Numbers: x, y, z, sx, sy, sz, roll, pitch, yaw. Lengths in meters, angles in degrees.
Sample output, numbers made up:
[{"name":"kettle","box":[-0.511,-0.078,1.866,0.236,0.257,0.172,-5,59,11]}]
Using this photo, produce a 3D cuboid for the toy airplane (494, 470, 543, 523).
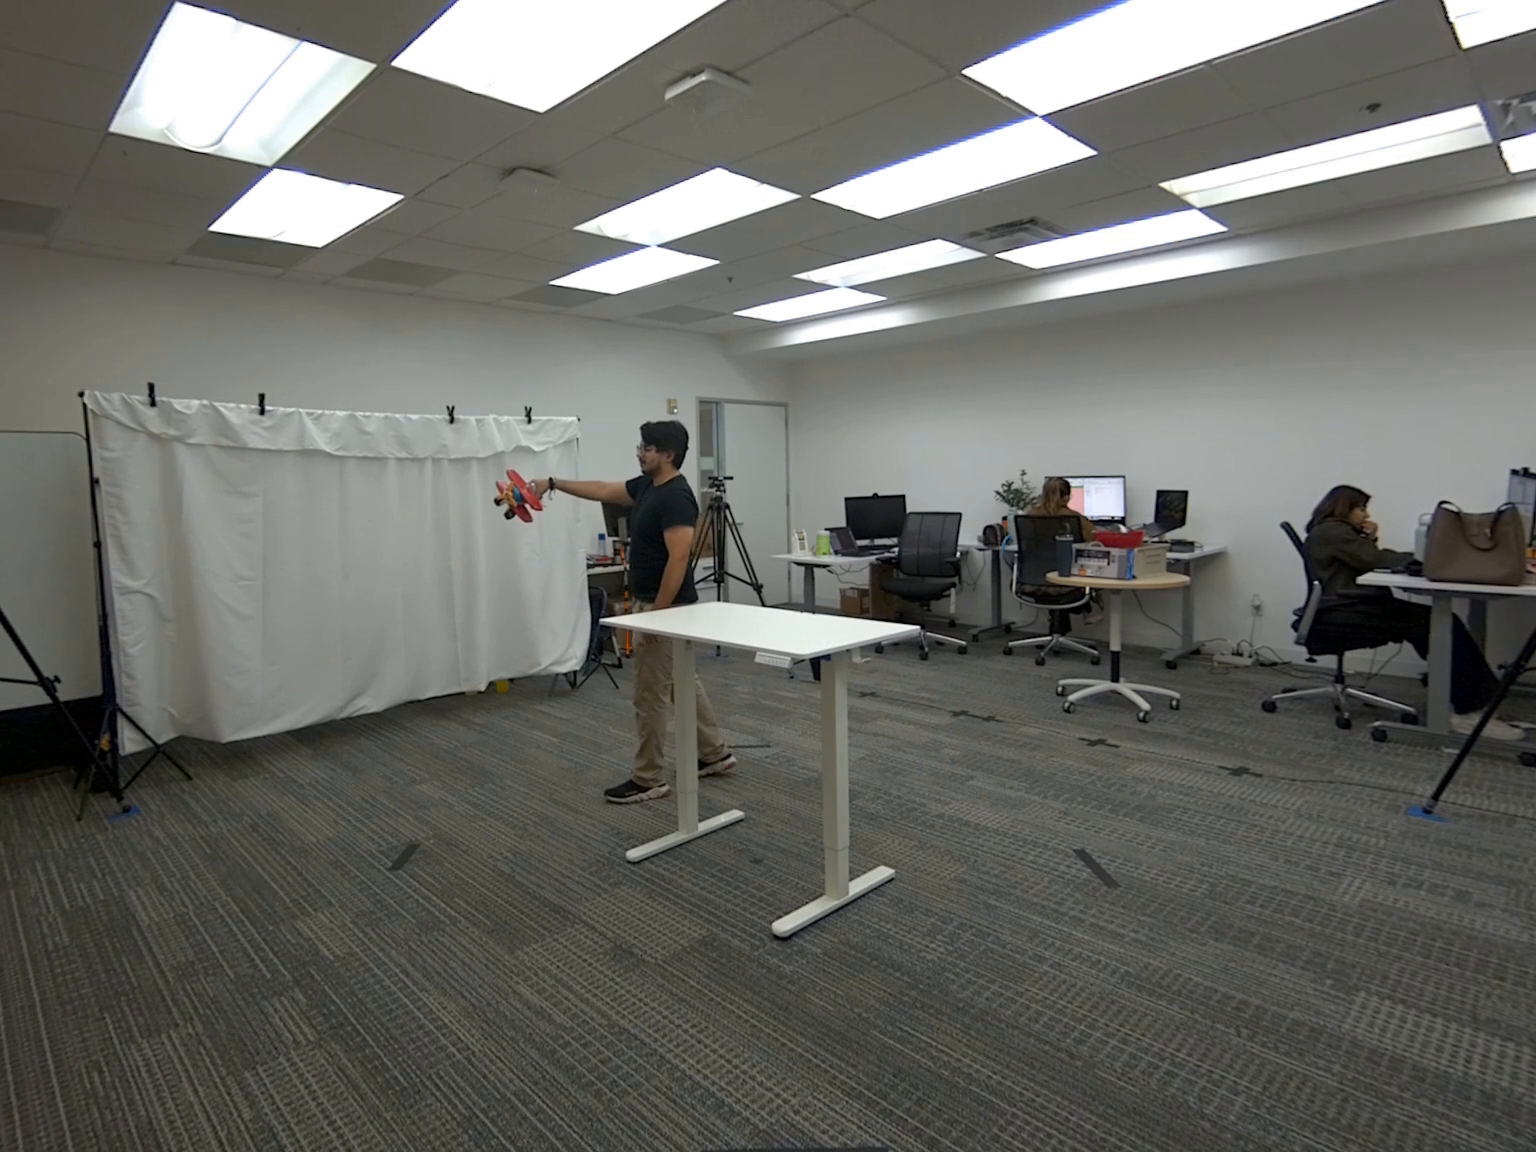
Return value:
[{"name":"toy airplane","box":[-1.152,-0.384,3.980,0.247,0.156,0.263,37,32,-12]}]
